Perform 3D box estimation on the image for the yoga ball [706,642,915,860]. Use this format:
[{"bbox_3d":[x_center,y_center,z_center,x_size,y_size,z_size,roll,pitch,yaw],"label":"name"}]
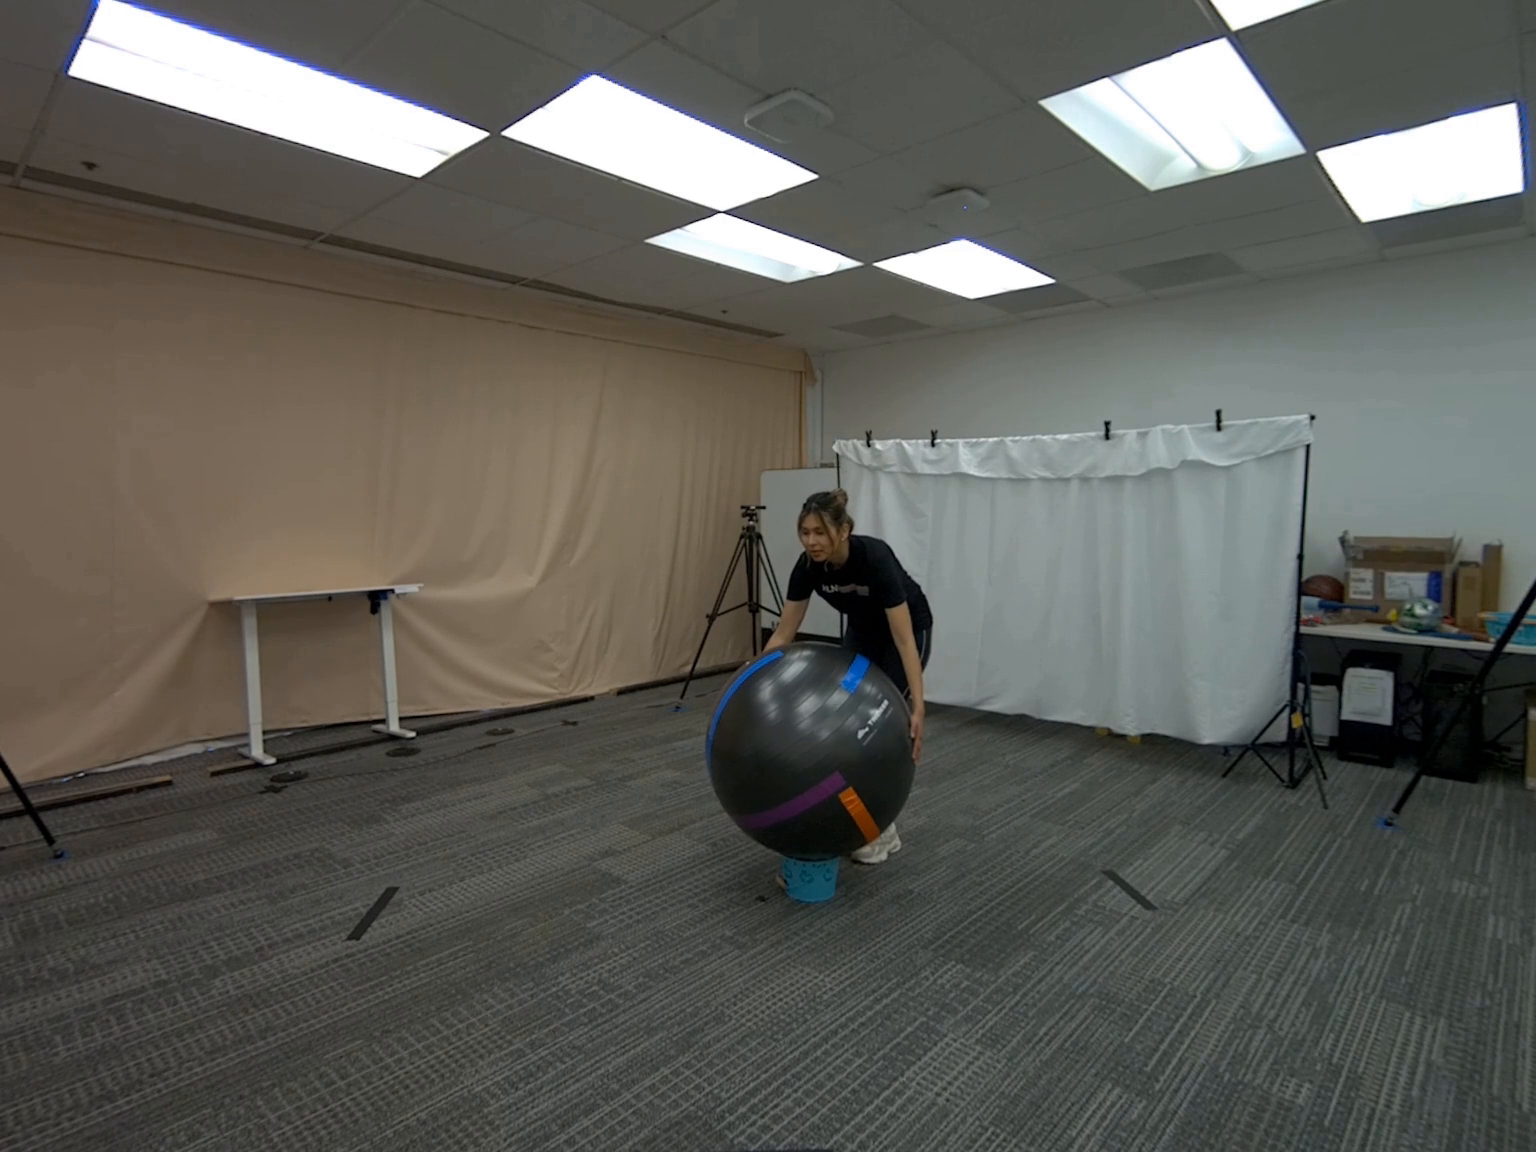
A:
[{"bbox_3d":[0.153,0.615,3.035,0.757,0.756,0.760,0,4,-2],"label":"yoga ball"}]
